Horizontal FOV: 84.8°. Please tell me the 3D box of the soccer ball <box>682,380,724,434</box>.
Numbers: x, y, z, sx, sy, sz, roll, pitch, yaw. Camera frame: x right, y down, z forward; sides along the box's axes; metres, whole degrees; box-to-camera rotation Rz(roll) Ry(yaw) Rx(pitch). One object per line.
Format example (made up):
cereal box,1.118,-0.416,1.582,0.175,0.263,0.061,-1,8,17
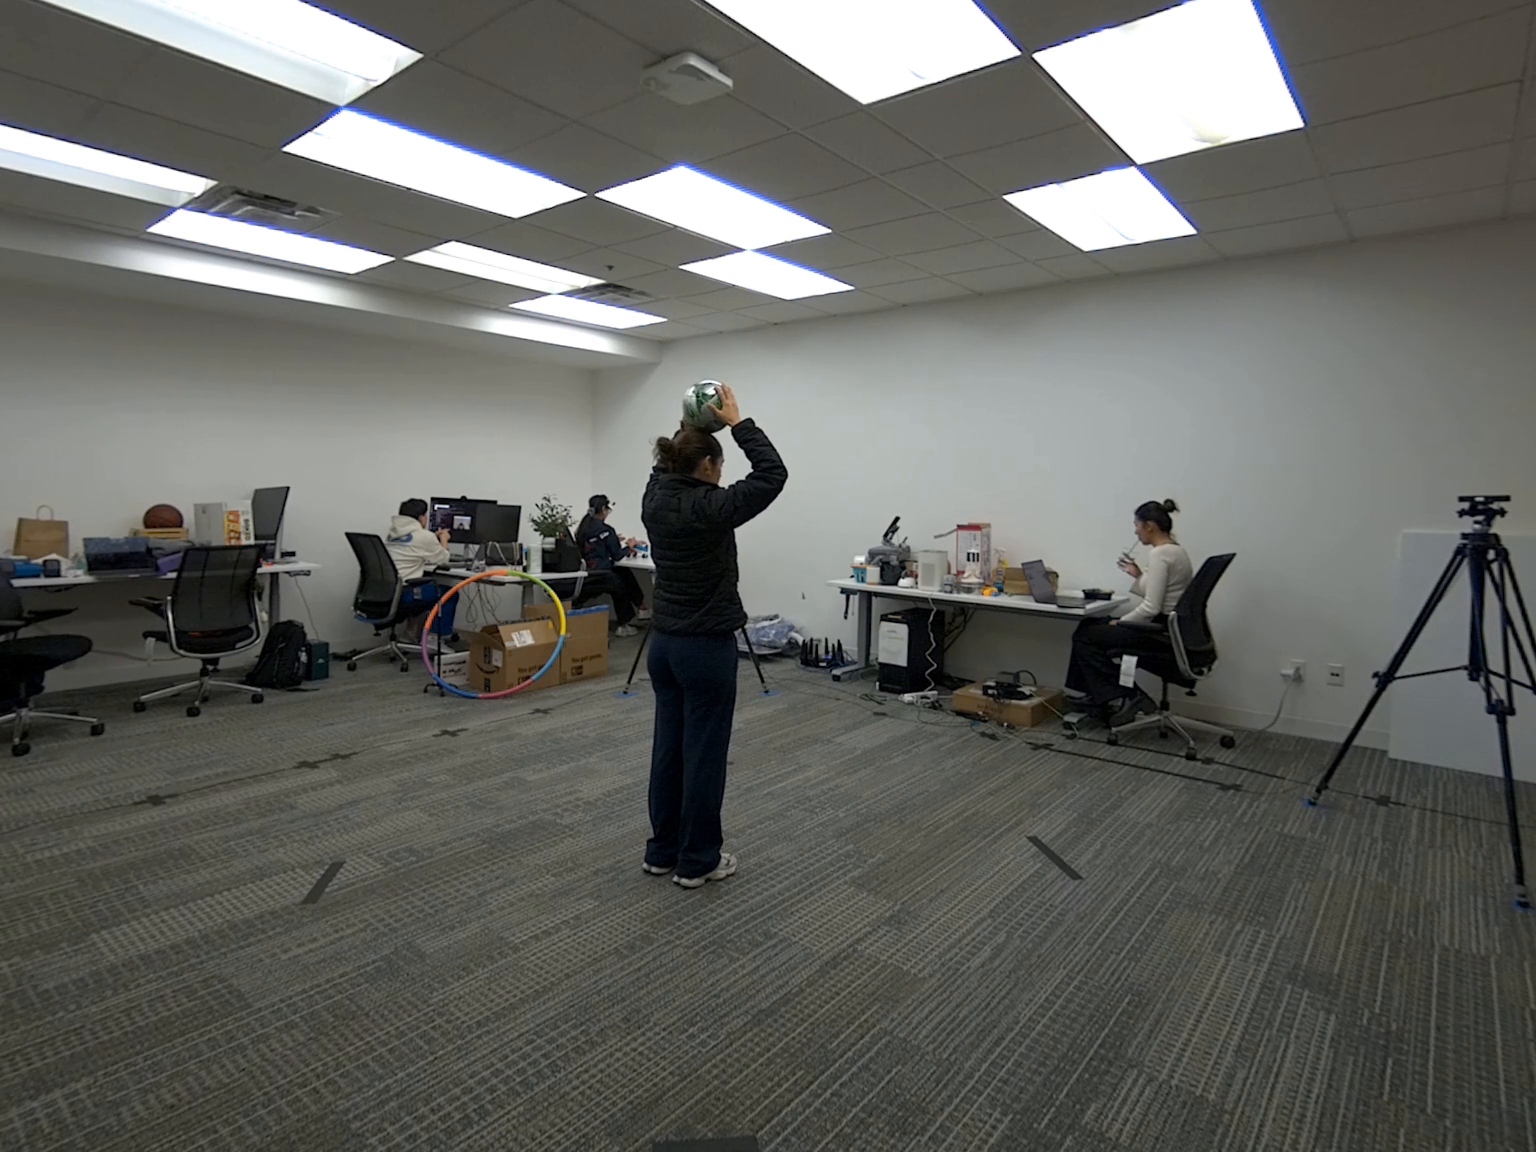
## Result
soccer ball,-0.221,-0.608,3.044,0.187,0.187,0.188,1,4,-2
